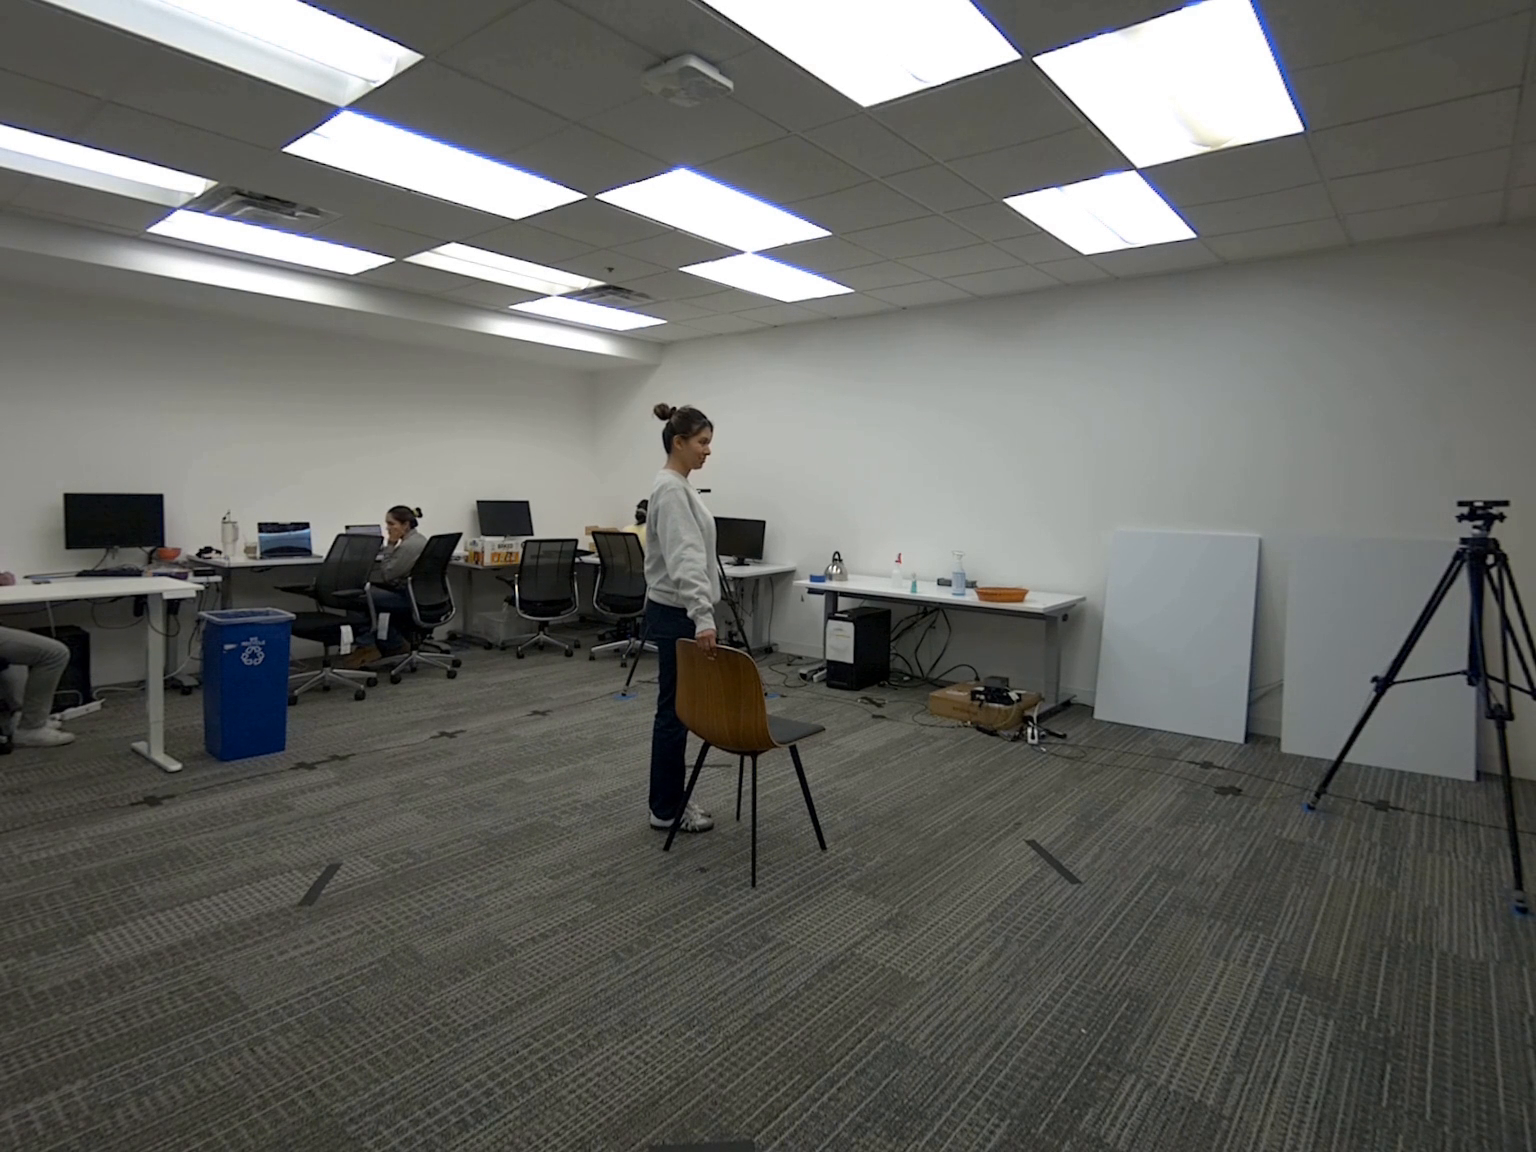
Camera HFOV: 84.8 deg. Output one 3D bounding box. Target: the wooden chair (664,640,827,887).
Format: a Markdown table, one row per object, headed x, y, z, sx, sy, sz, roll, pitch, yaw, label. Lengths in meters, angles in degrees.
| x | y | z | sx | sy | sz | roll | pitch | yaw | label |
| --- | --- | --- | --- | --- | --- | --- | --- | --- | --- |
| -0.080 | 0.635 | 3.268 | 0.494 | 0.872 | 0.509 | 3 | 8 | 39 | wooden chair |
